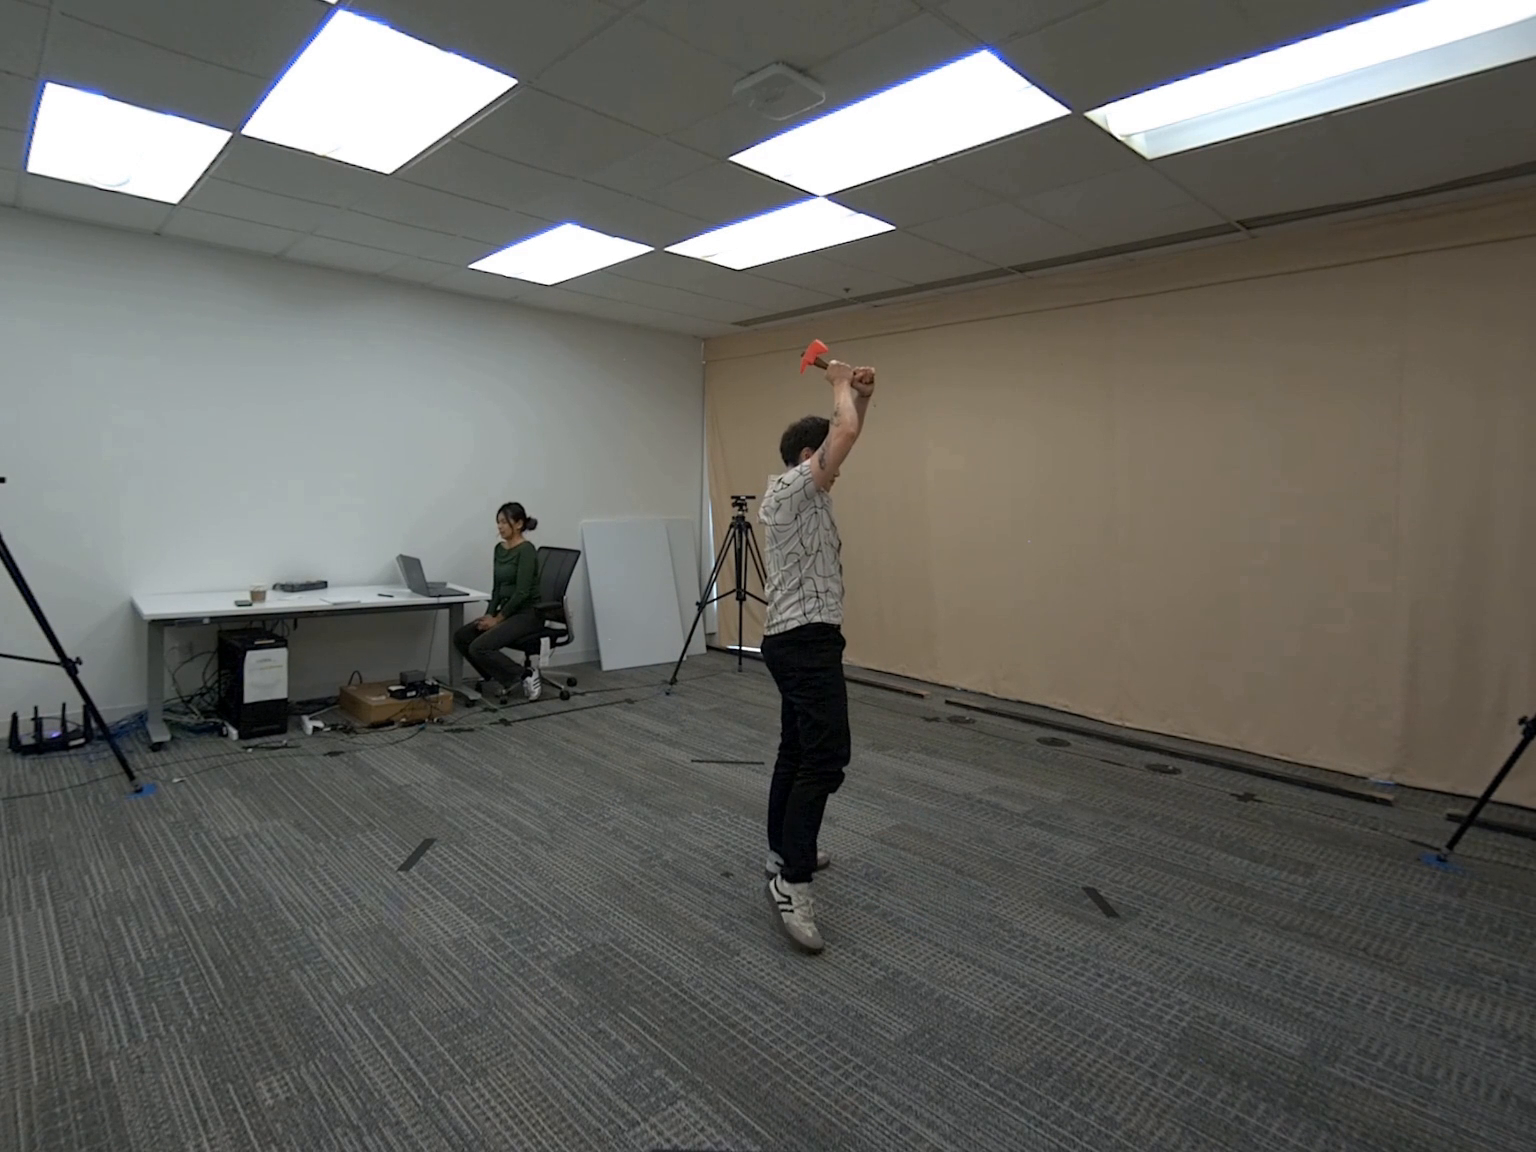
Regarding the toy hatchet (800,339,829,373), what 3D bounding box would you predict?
[{"bbox_3d":[0.248,-0.764,2.977,0.269,0.131,0.029,7,-7,-3],"label":"toy hatchet"}]
